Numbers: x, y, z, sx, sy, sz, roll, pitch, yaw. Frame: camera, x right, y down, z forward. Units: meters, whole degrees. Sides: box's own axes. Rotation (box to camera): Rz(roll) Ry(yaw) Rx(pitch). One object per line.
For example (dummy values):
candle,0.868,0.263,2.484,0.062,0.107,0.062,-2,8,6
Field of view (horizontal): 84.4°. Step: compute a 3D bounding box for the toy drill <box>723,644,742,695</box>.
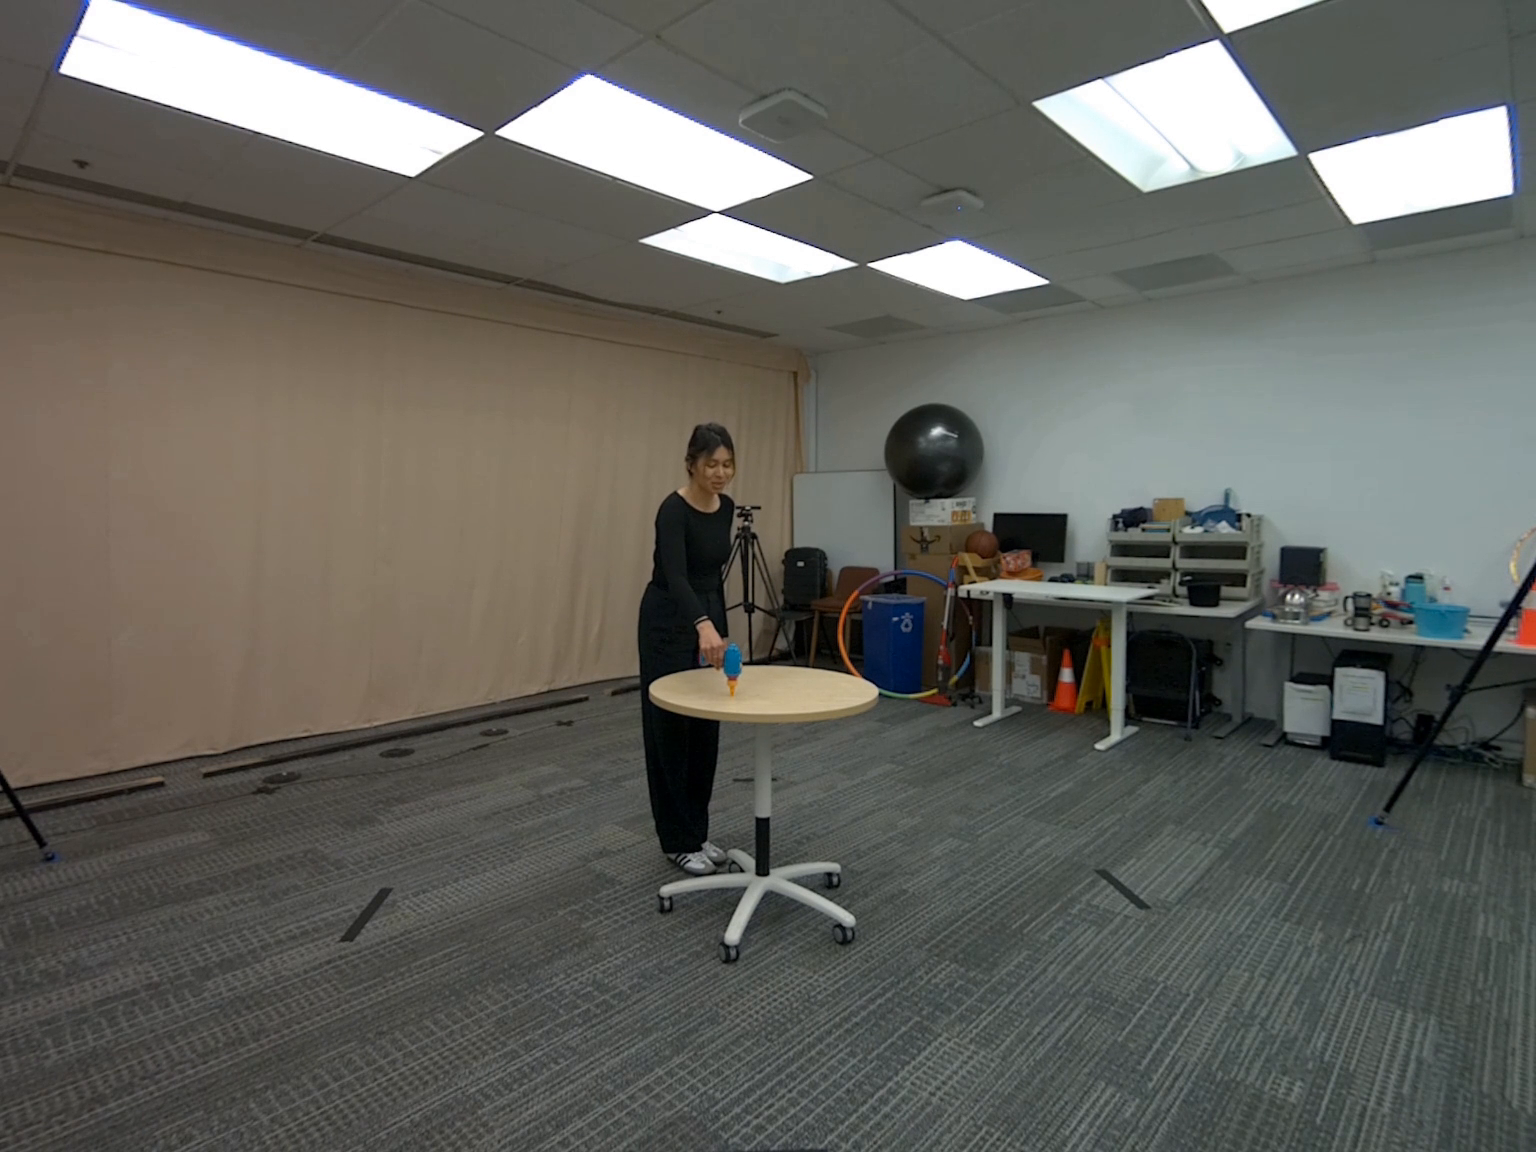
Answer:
toy drill,-0.143,0.297,2.692,0.150,0.169,0.060,6,11,27
